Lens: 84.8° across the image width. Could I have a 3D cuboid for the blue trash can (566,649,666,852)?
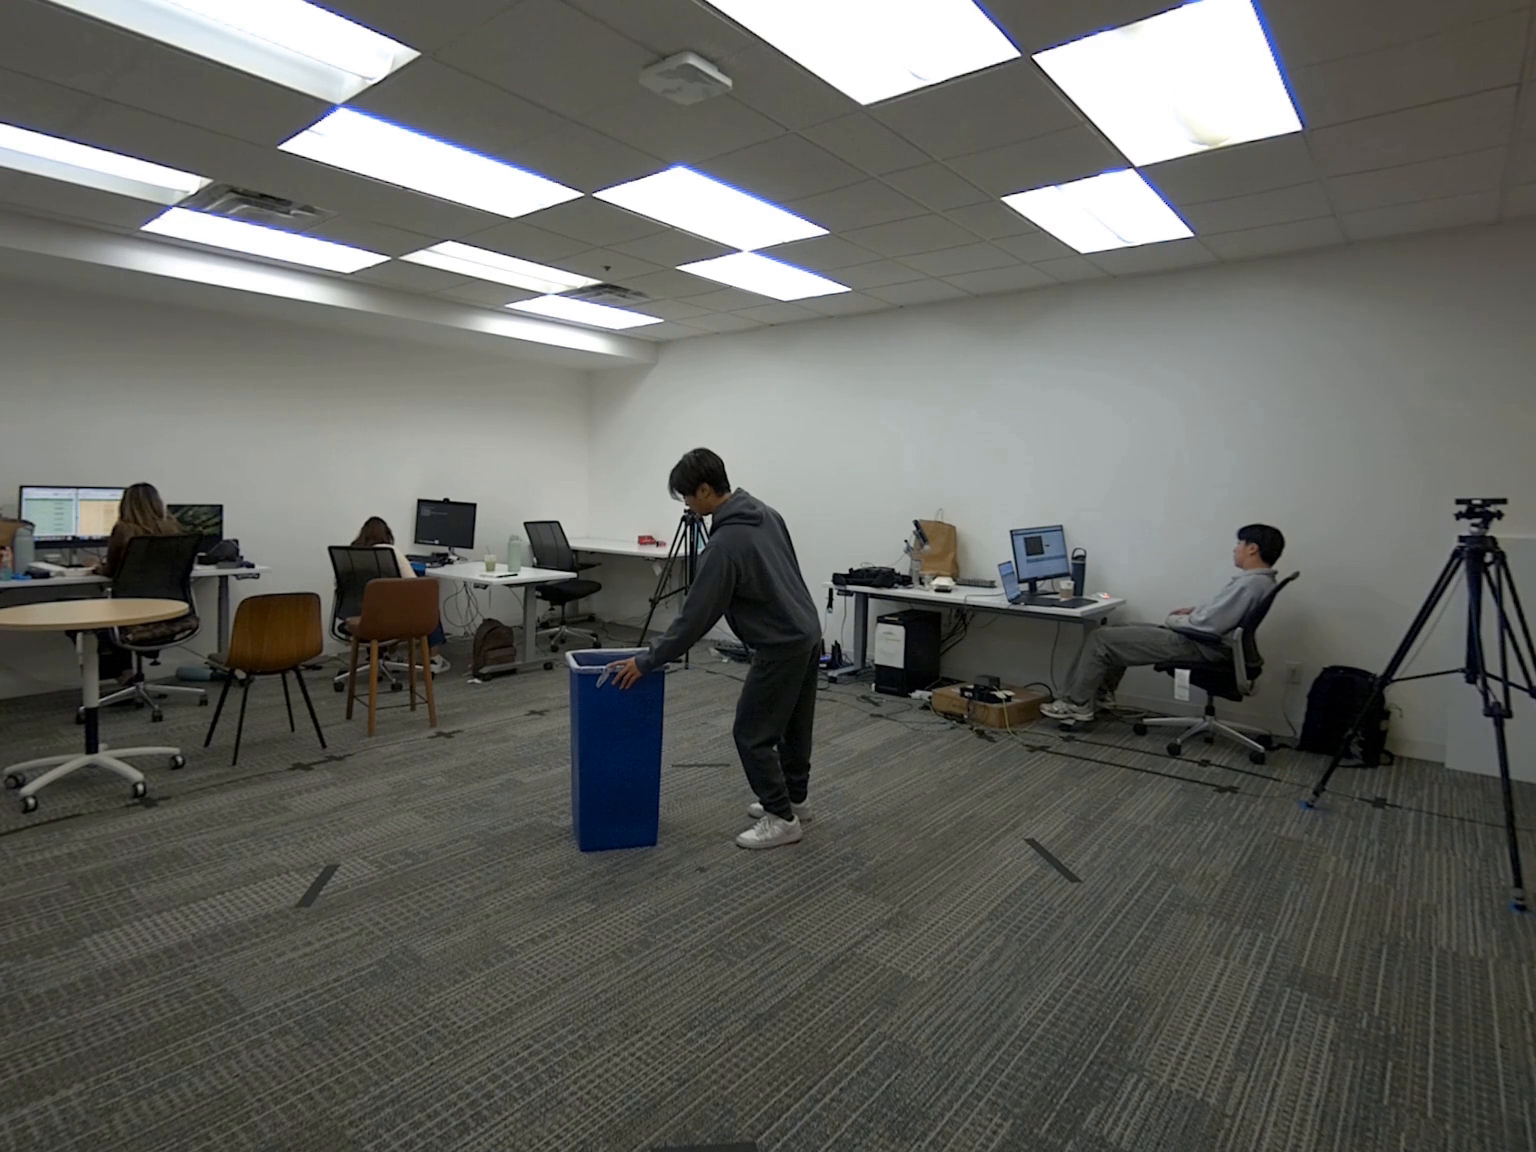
[{"bbox_3d":[-0.631,0.681,3.409,0.372,0.712,0.381,0,3,-17],"label":"blue trash can"}]
